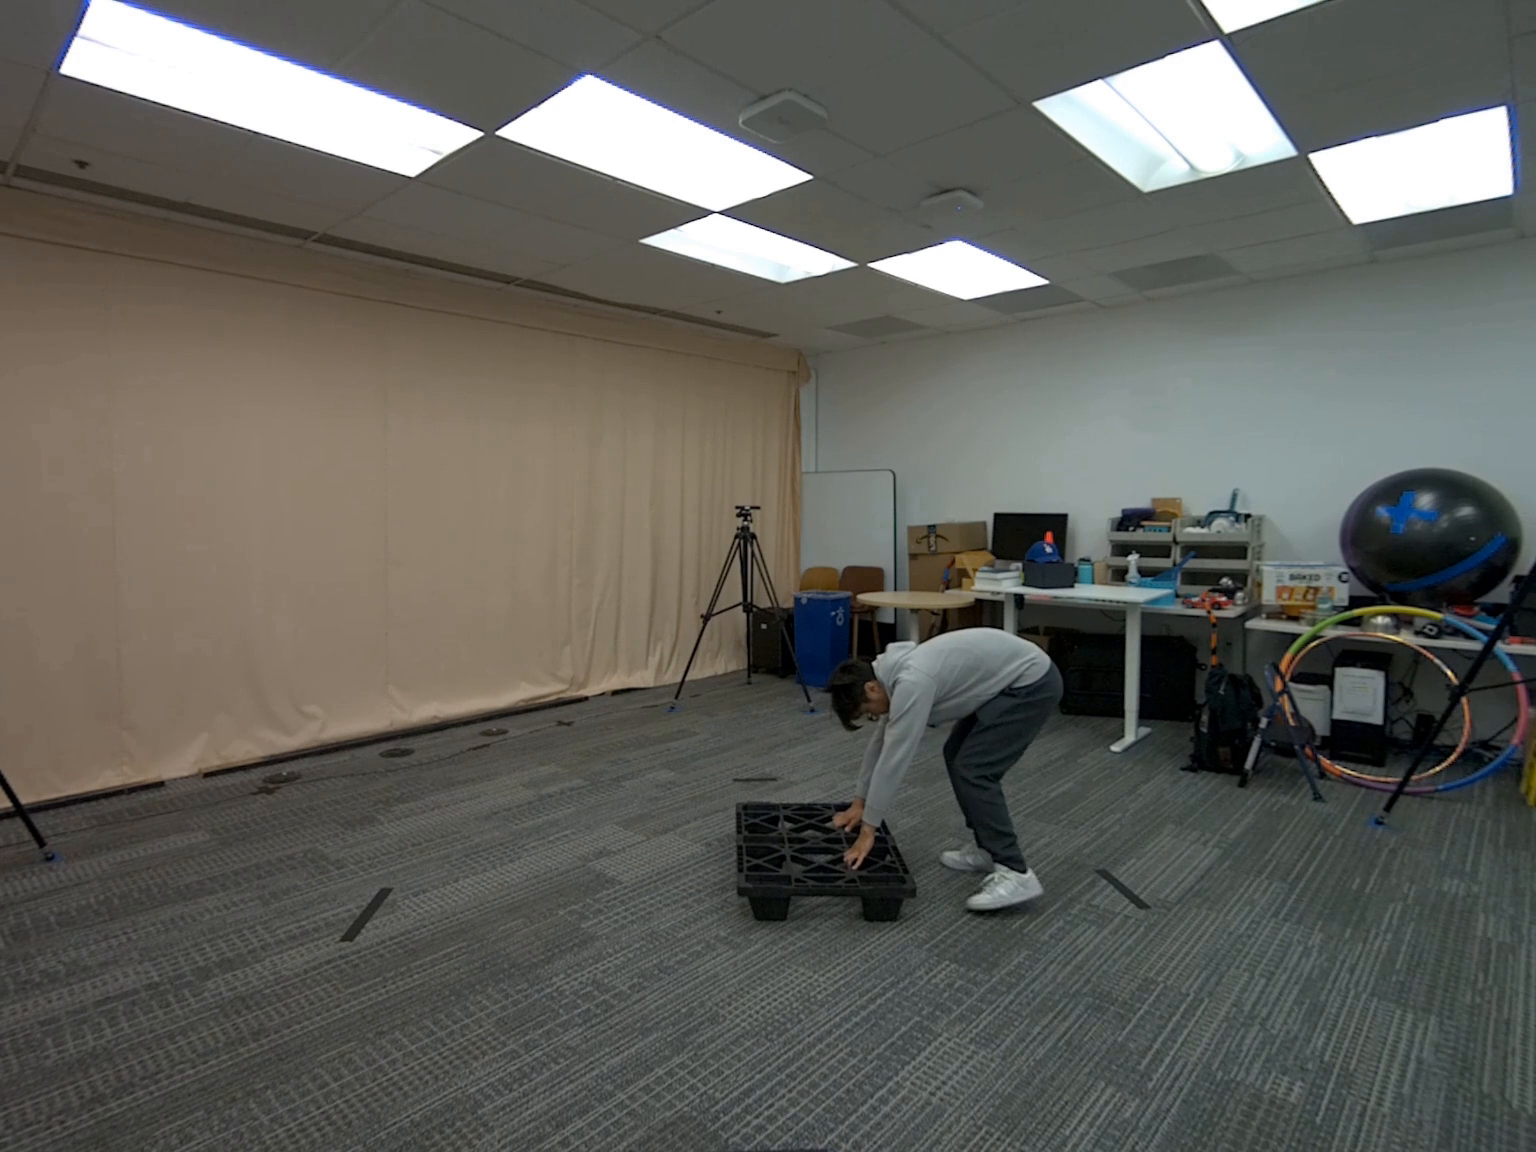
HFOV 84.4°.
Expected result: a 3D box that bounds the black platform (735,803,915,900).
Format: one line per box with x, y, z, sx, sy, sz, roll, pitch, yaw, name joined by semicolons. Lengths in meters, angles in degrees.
0.184;1.057;3.179;0.605;0.143;0.808;0;5;-1;black platform
